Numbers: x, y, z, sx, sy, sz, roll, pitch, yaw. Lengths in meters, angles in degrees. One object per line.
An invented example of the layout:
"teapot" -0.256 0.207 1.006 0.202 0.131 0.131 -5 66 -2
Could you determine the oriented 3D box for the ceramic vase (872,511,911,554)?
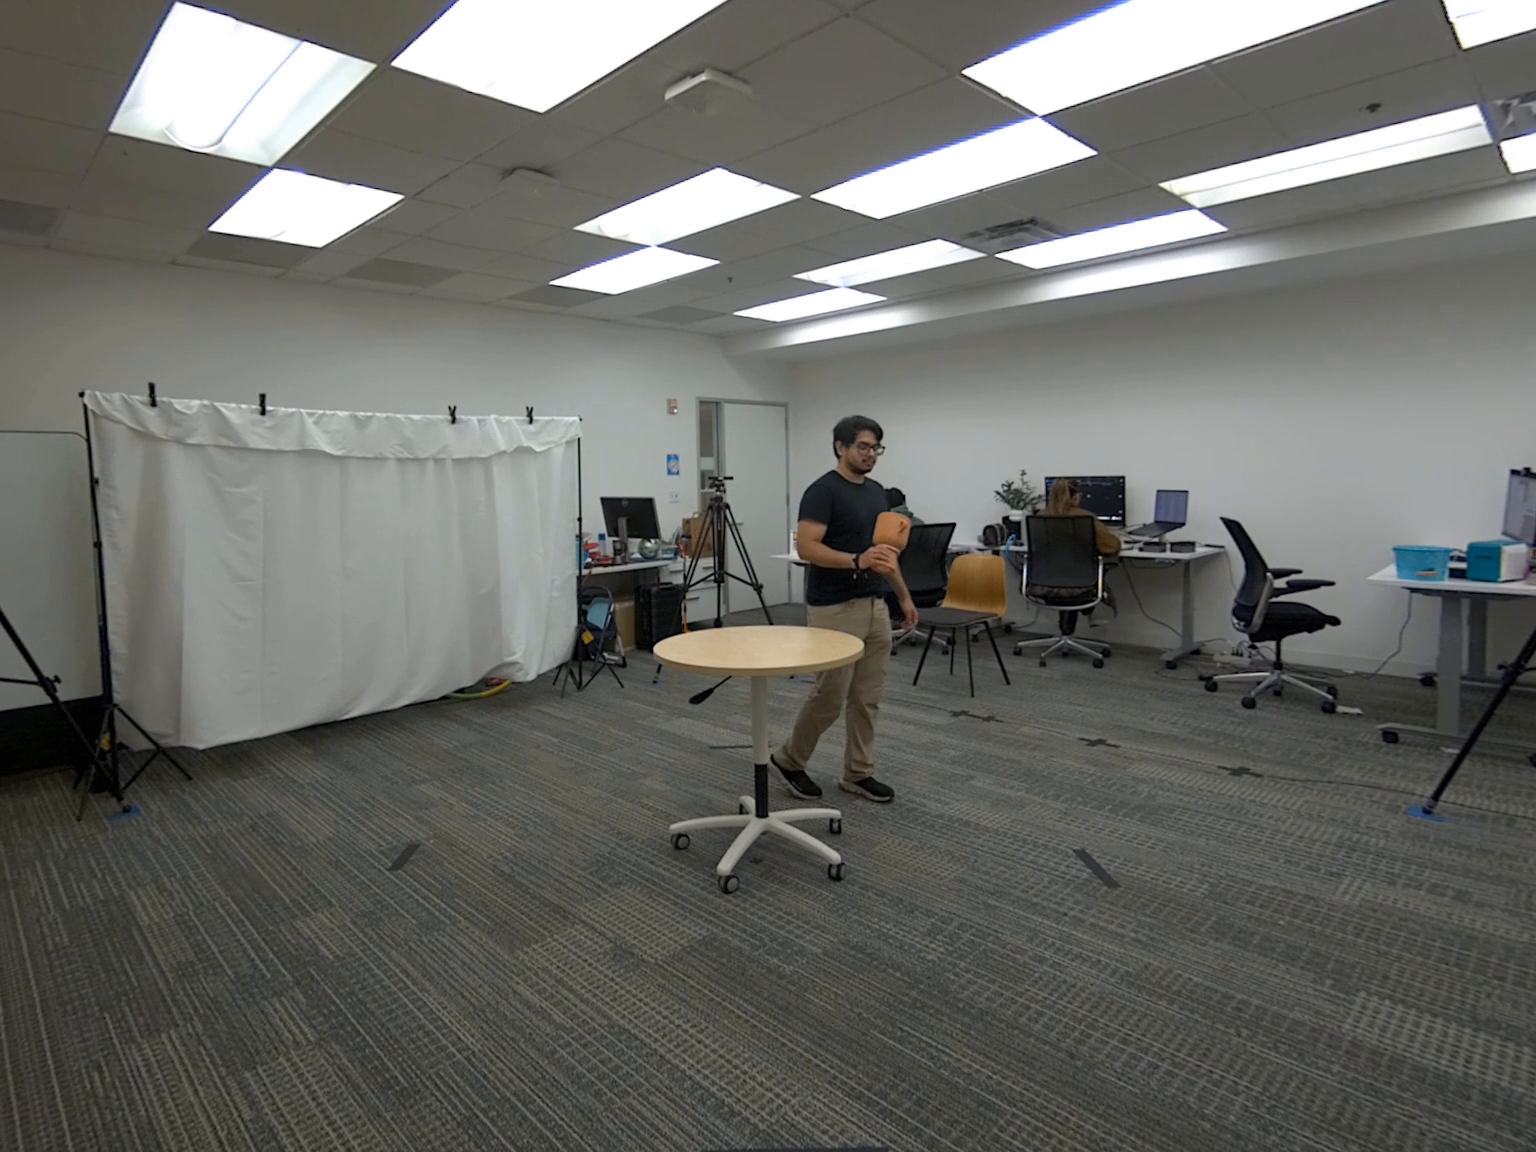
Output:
"ceramic vase" 0.463 -0.120 3.378 0.137 0.222 0.154 9 -19 20
